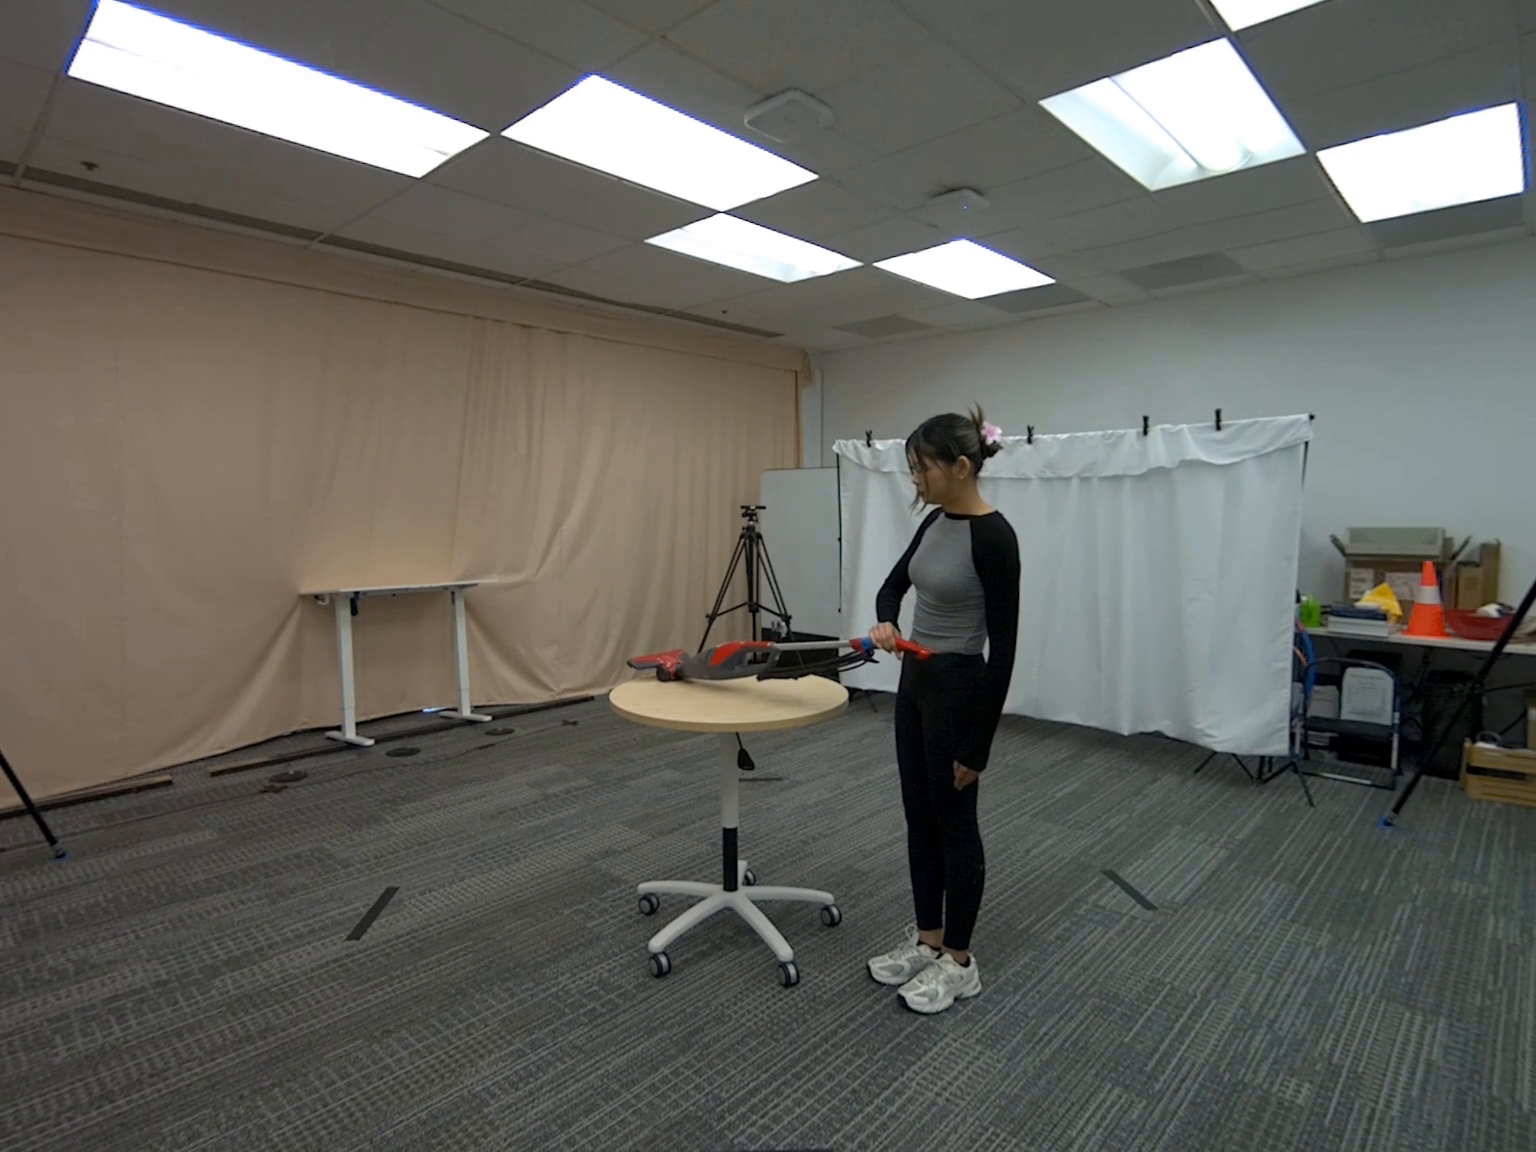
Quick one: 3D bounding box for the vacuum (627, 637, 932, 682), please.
[{"bbox_3d":[0.005,0.276,2.577,1.079,0.144,0.245,-8,-5,45],"label":"vacuum"}]
